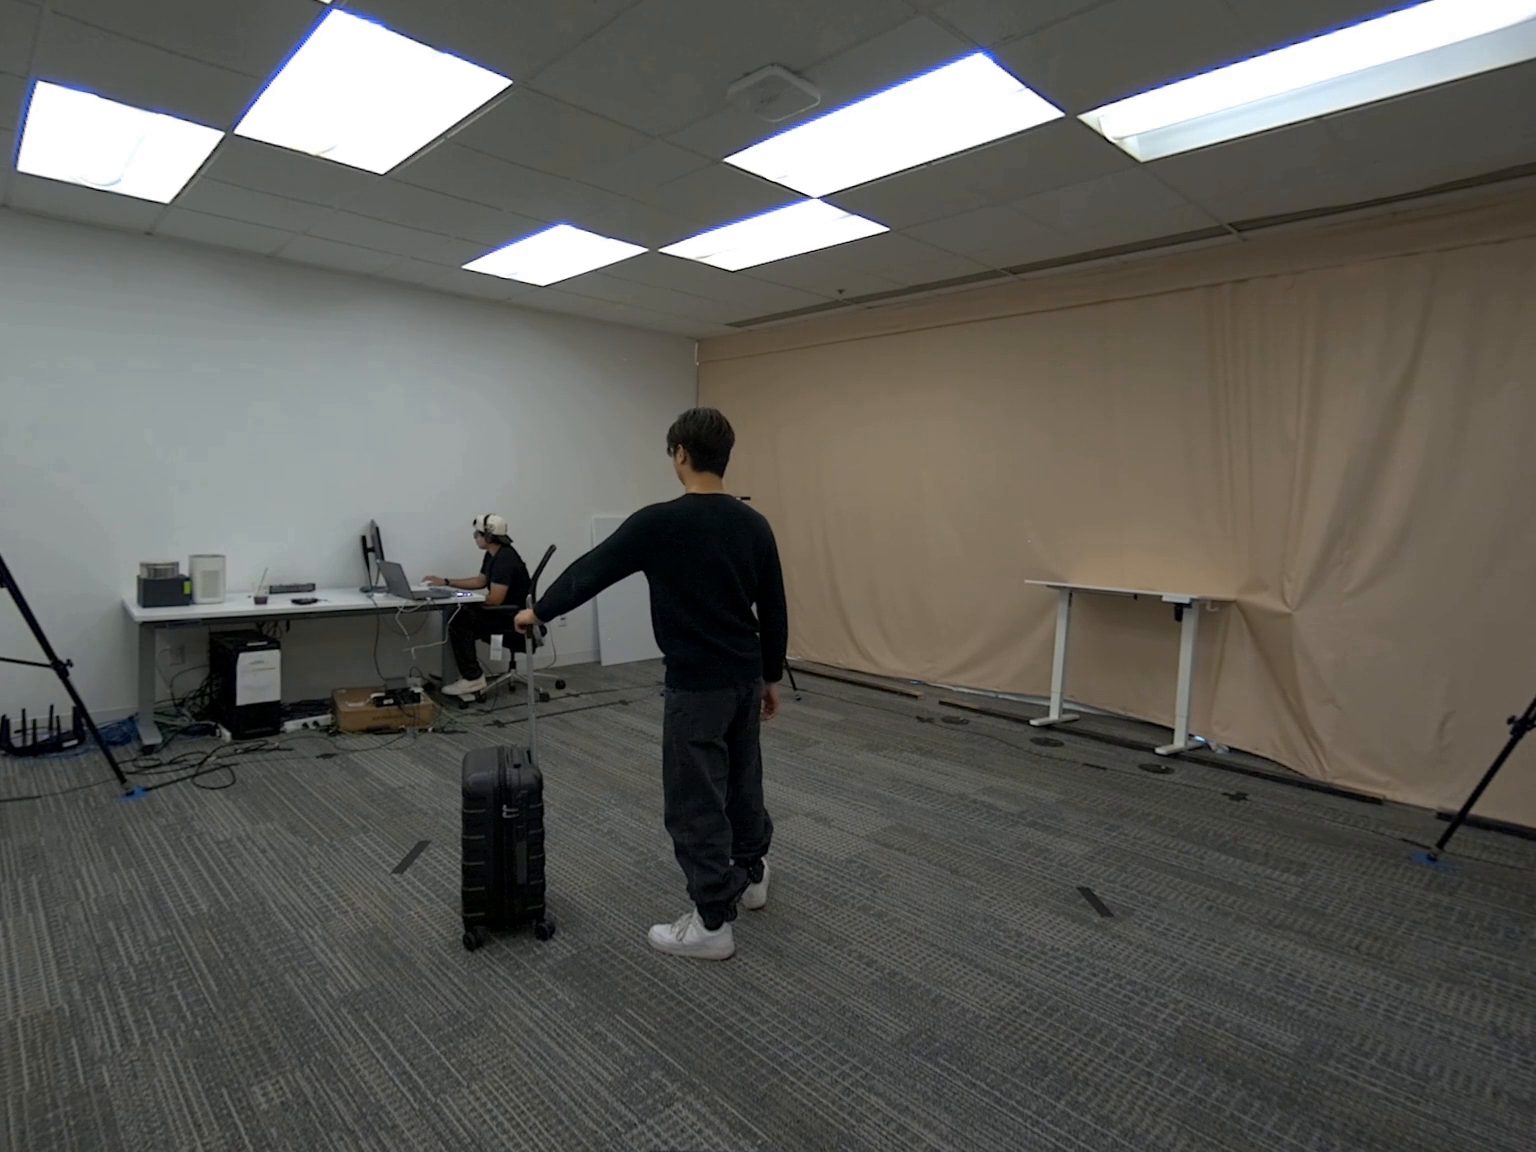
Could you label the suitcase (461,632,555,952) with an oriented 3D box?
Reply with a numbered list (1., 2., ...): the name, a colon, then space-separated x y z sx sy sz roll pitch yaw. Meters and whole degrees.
1. suitcase: -0.865 0.644 2.724 0.254 0.976 0.389 -3 4 -15
